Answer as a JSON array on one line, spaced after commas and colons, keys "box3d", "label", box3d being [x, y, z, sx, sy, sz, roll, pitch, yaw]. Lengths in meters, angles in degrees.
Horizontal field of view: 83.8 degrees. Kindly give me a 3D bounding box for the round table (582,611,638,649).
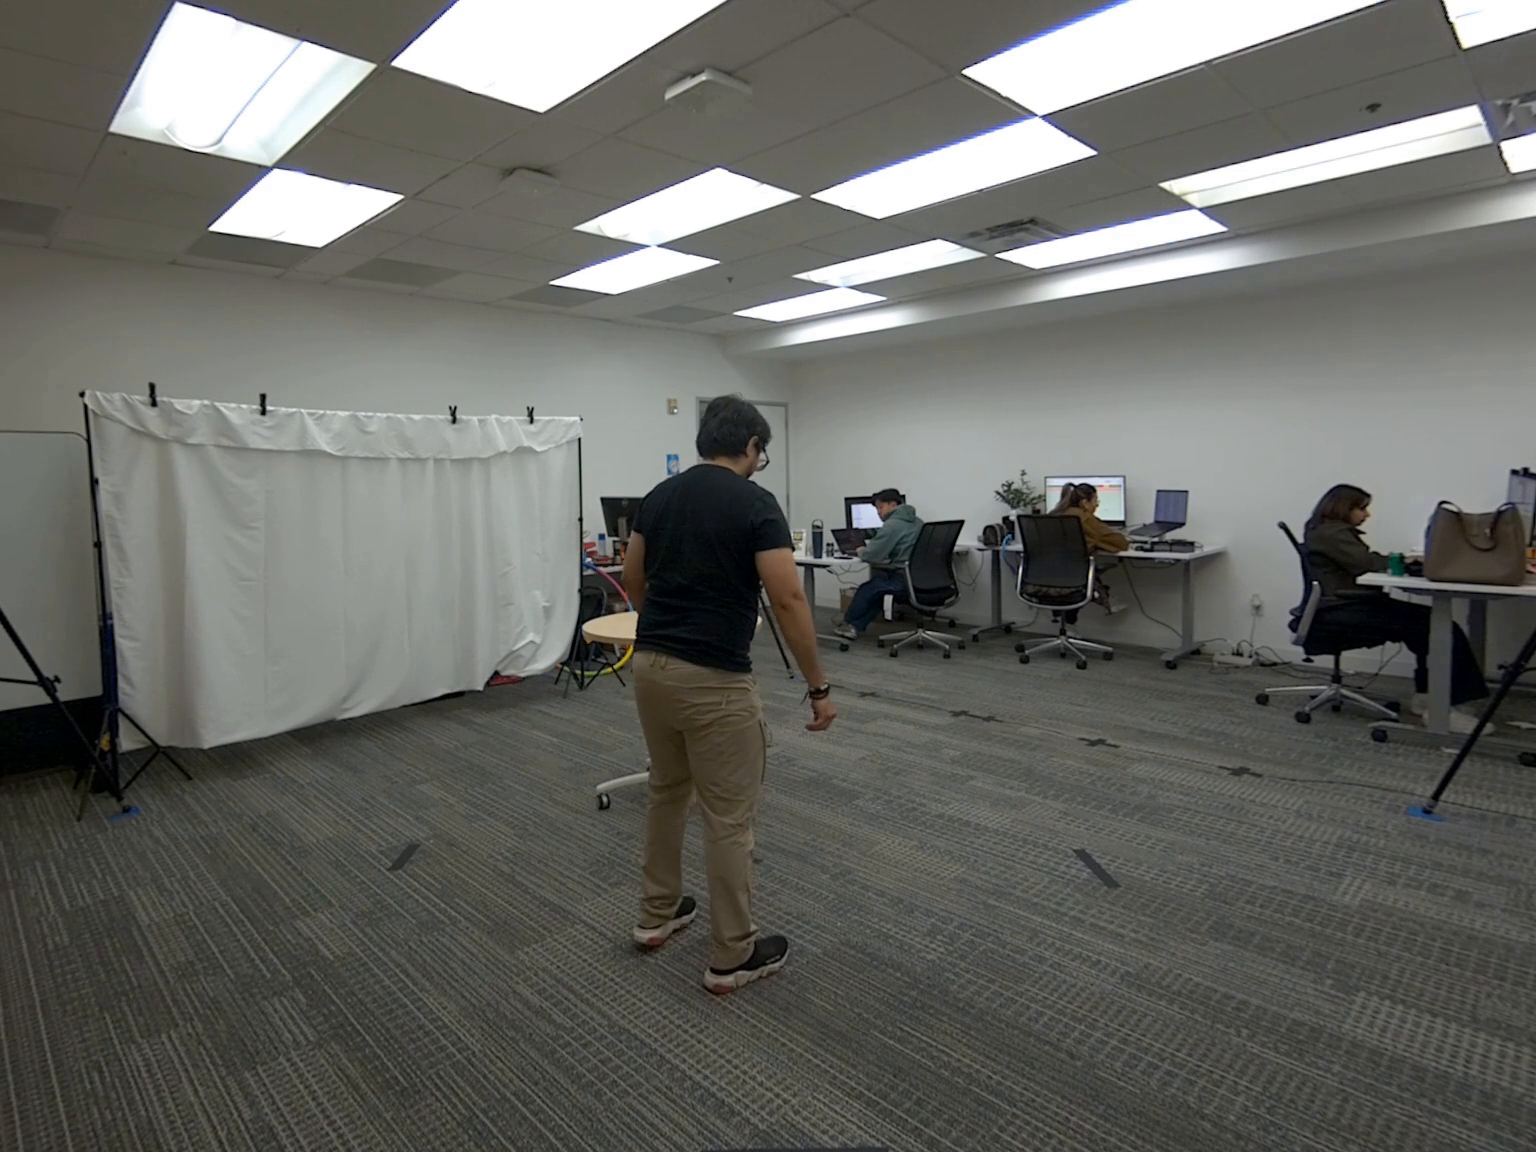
[{"box3d": [-0.377, 0.587, 3.691, 0.785, 0.783, 0.789, -2, 5, -1], "label": "round table"}]
